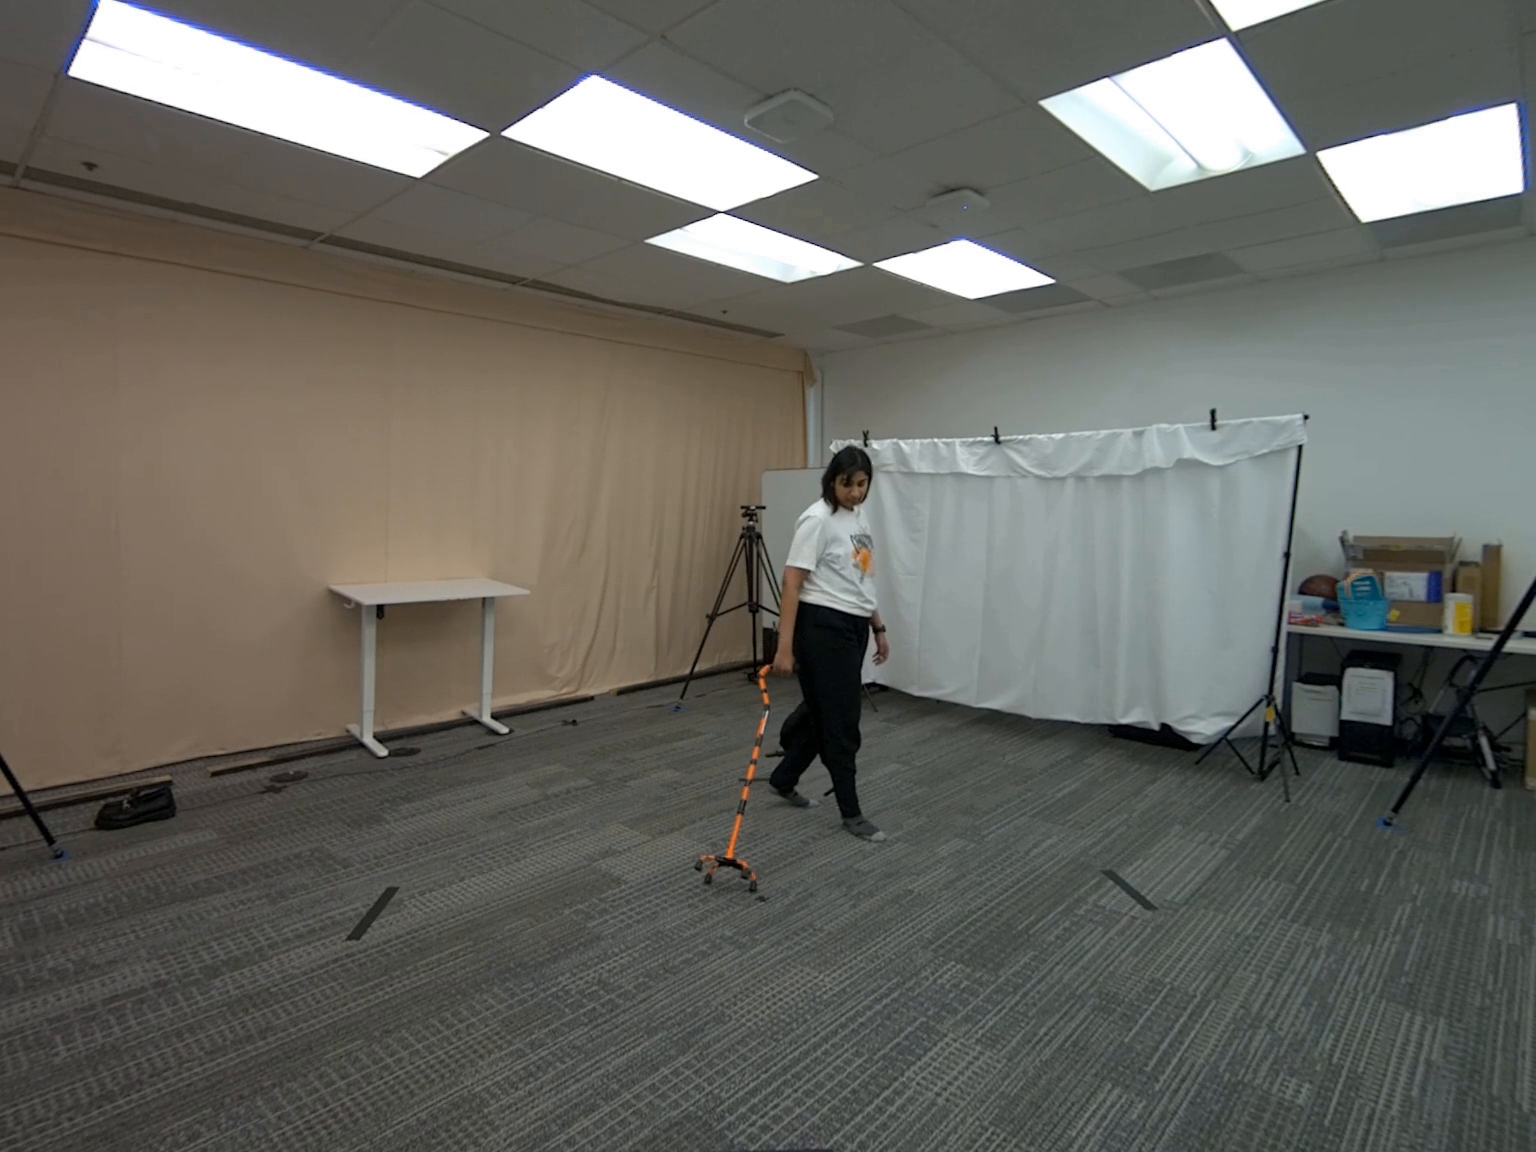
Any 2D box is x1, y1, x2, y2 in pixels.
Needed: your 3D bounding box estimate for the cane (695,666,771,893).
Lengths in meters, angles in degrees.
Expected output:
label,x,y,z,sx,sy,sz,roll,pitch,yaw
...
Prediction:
label,x,y,z,sx,sy,sz,roll,pitch,yaw
cane,-0.050,0.739,3.282,0.210,0.915,0.147,3,-38,17
